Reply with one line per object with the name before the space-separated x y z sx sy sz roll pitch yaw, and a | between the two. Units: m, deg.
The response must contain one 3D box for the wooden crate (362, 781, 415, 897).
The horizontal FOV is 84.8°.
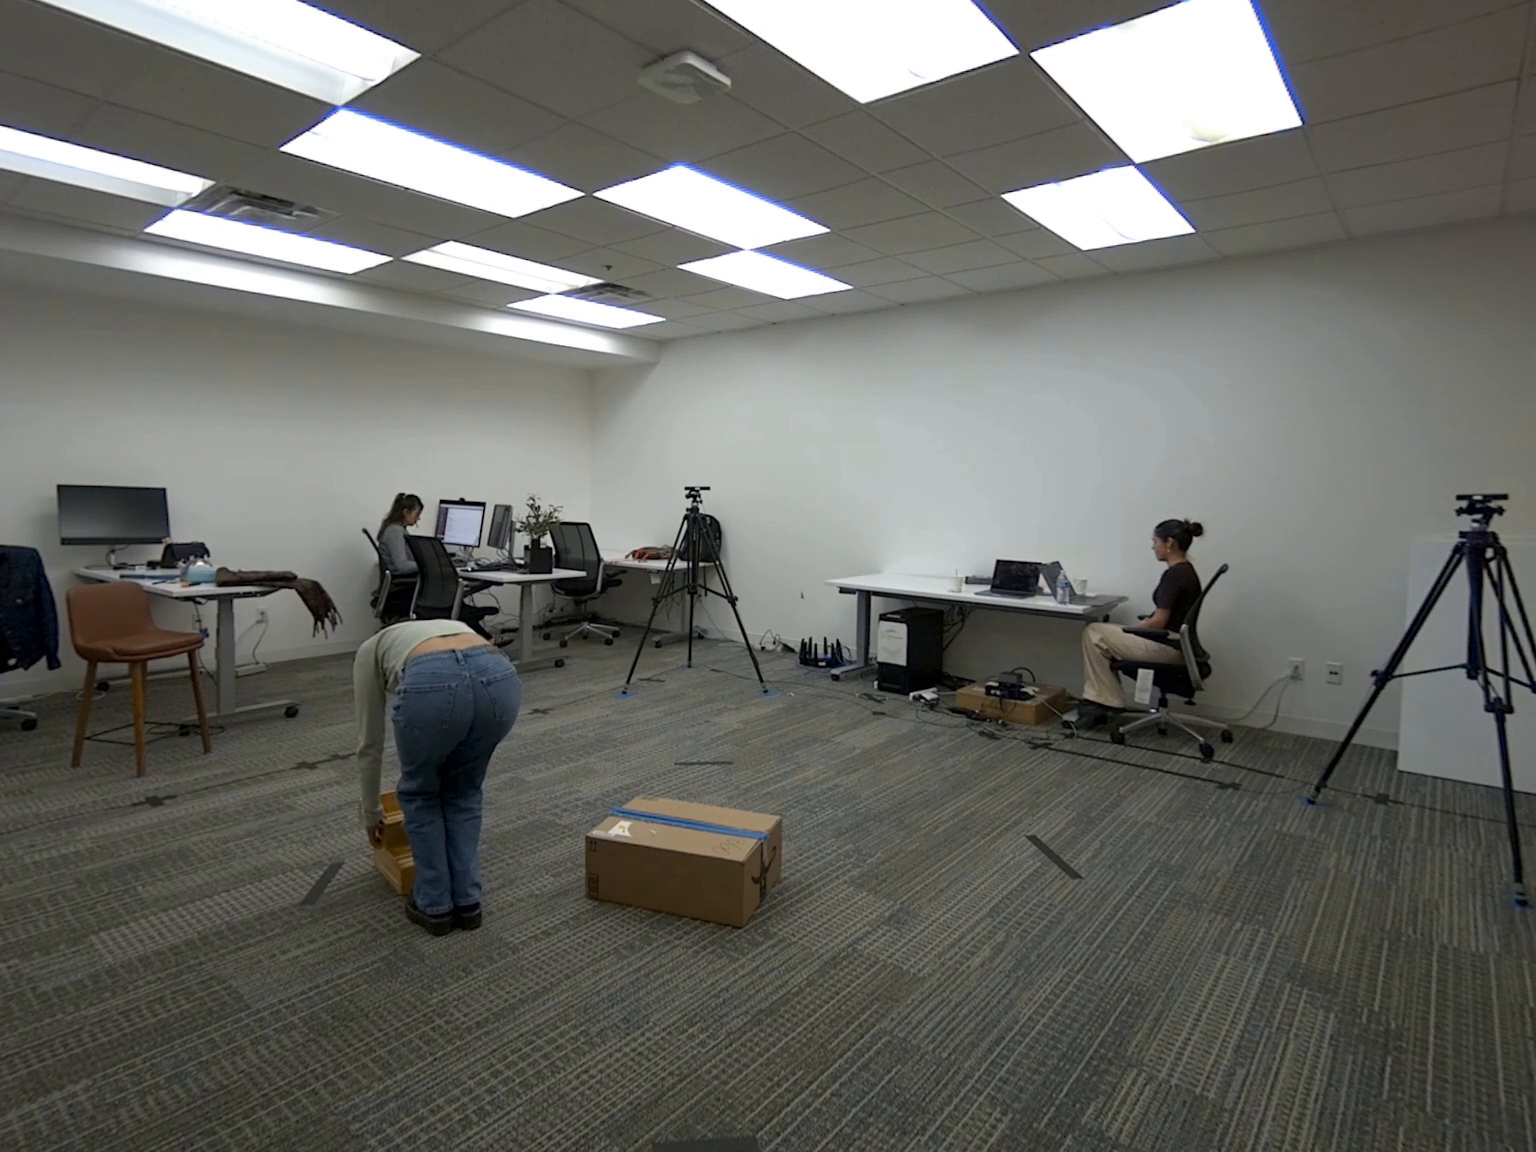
wooden crate | -1.258 0.913 3.031 0.293 0.272 0.335 -3 5 -41
